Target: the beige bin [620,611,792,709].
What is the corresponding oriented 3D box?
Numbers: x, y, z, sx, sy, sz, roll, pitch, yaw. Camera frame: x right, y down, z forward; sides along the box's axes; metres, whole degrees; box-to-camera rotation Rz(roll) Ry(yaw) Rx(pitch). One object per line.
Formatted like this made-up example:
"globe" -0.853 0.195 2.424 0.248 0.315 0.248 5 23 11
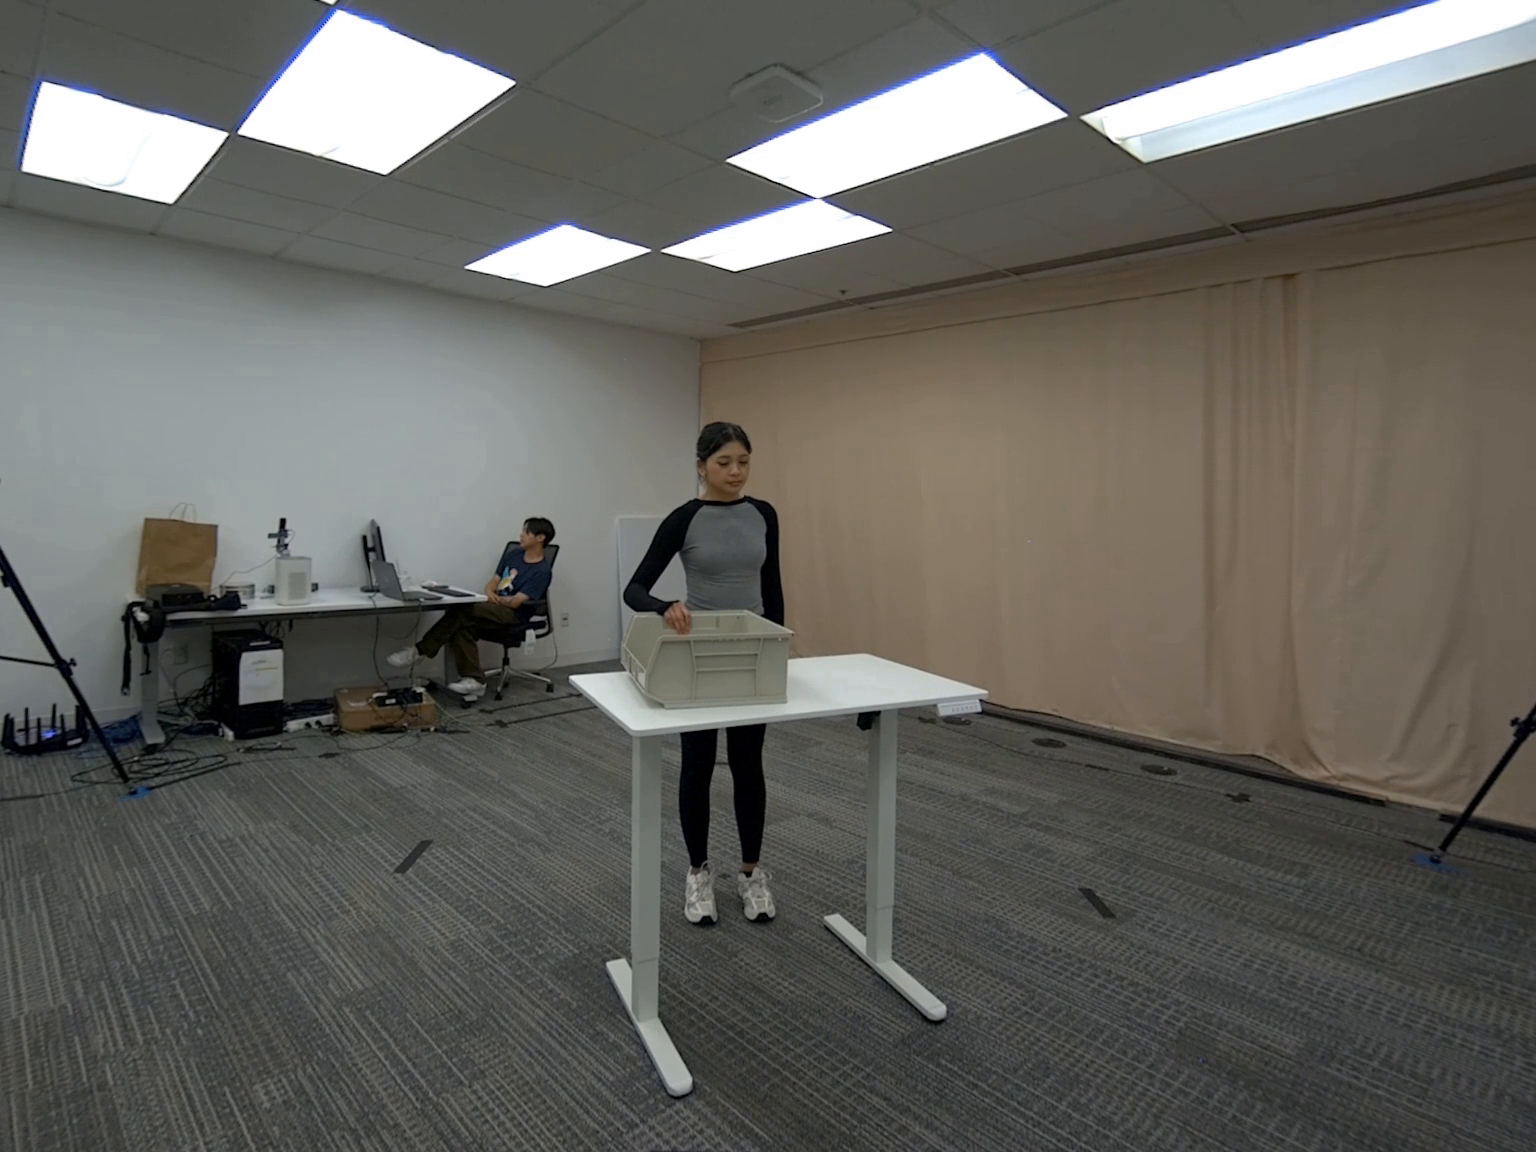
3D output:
"beige bin" -0.188 0.217 2.256 0.373 0.188 0.428 2 4 -15
